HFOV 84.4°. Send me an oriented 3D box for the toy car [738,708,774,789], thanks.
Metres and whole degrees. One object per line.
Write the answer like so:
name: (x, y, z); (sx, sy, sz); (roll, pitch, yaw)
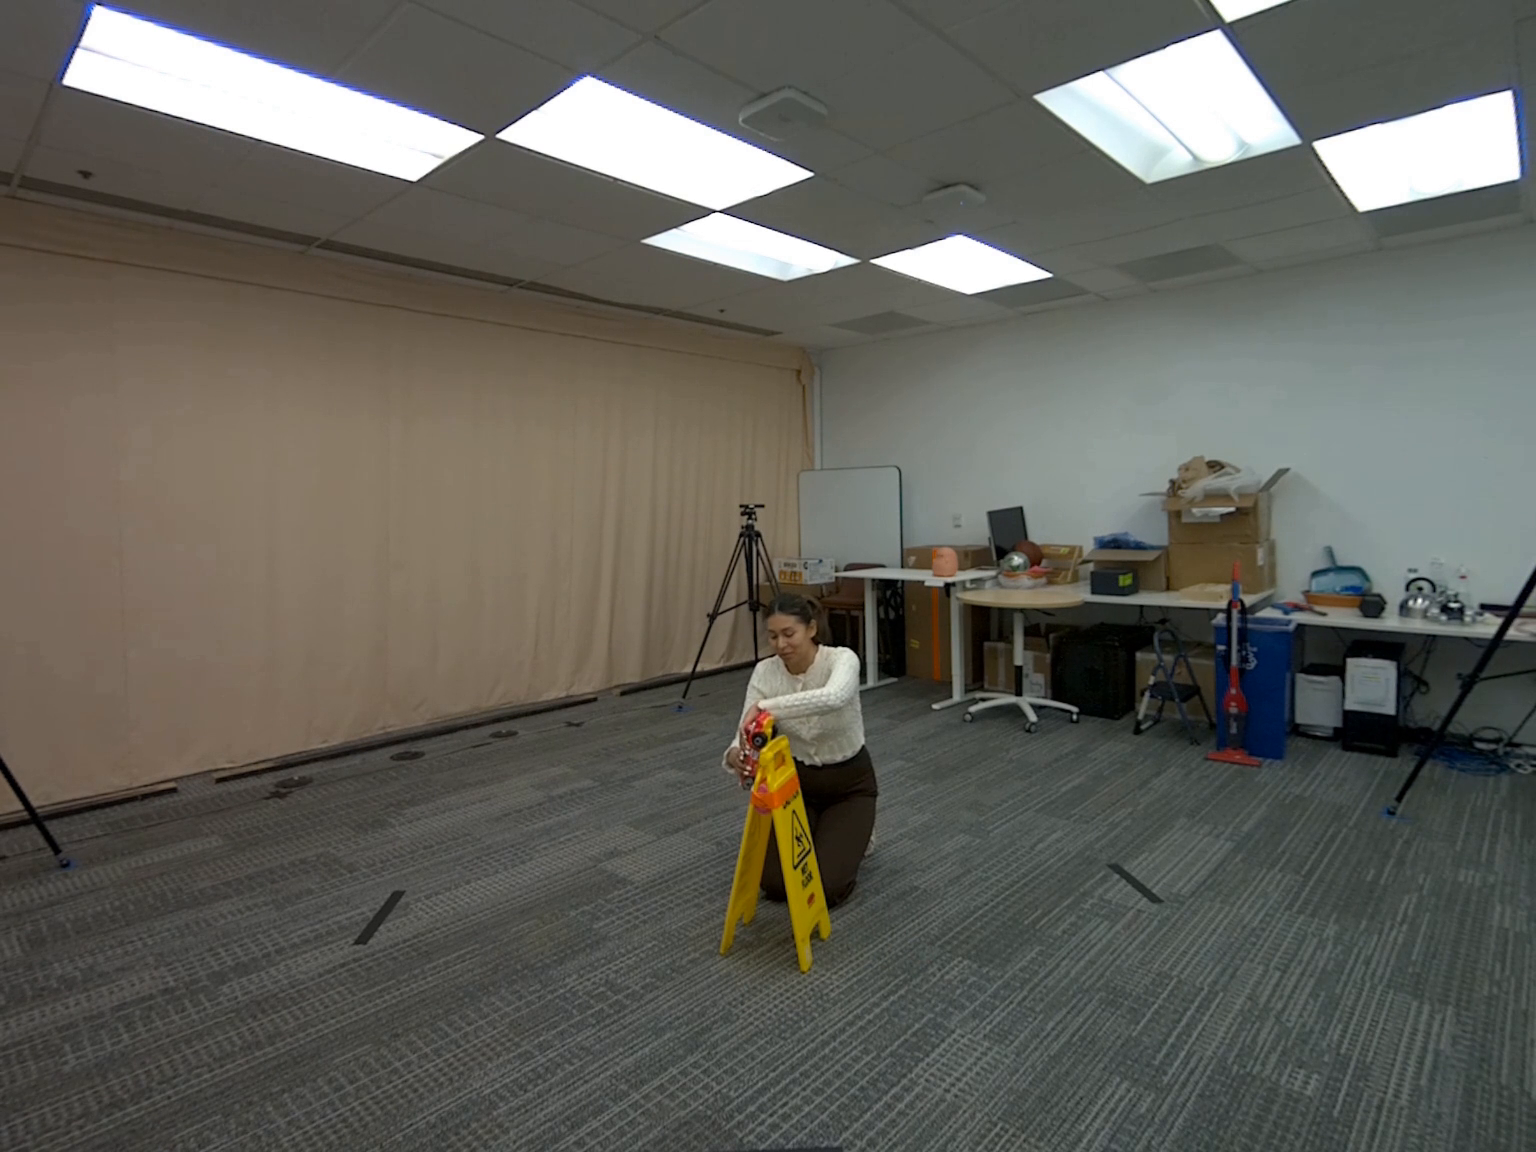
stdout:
toy car: (-0.026, 0.548, 2.665); (0.085, 0.253, 0.127); (3, 7, 24)
